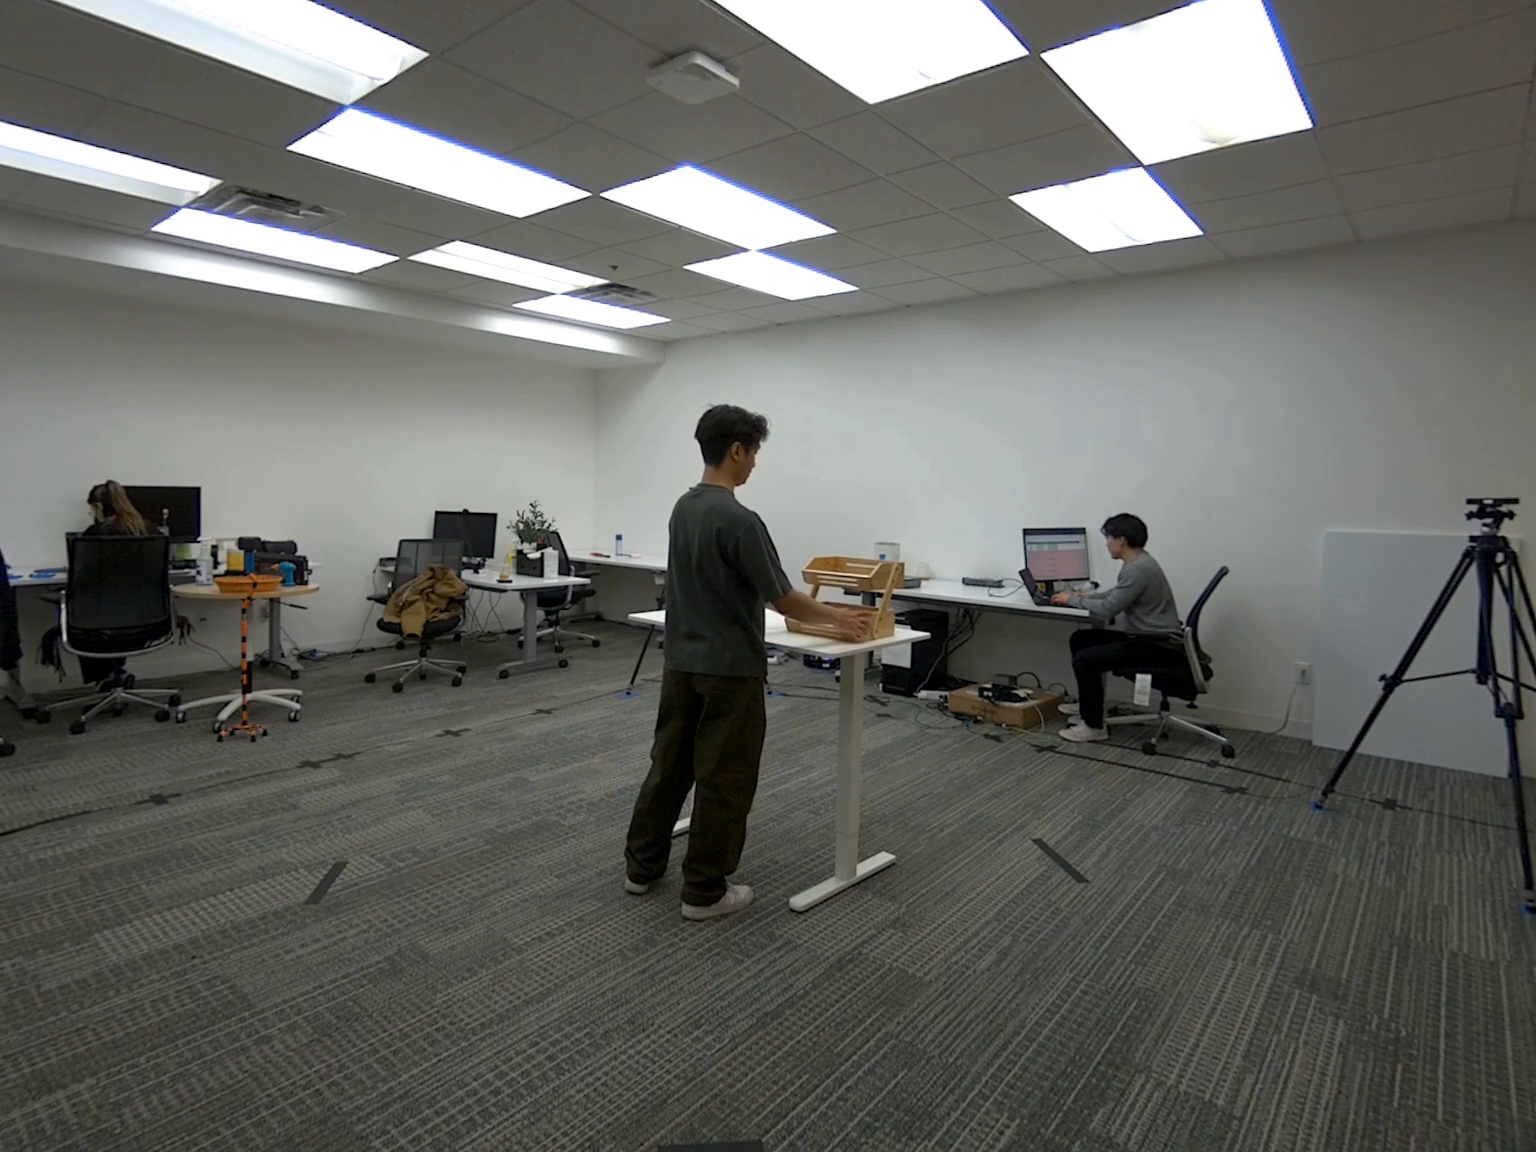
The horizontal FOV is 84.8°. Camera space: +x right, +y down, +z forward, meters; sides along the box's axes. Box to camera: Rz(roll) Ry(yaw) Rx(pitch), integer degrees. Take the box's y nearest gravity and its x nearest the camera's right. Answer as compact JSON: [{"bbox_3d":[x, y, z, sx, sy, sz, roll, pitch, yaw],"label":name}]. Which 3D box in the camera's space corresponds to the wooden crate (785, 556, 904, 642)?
[{"bbox_3d":[0.263,0.068,3.050,0.336,0.272,0.293,6,6,42],"label":"wooden crate"}]
